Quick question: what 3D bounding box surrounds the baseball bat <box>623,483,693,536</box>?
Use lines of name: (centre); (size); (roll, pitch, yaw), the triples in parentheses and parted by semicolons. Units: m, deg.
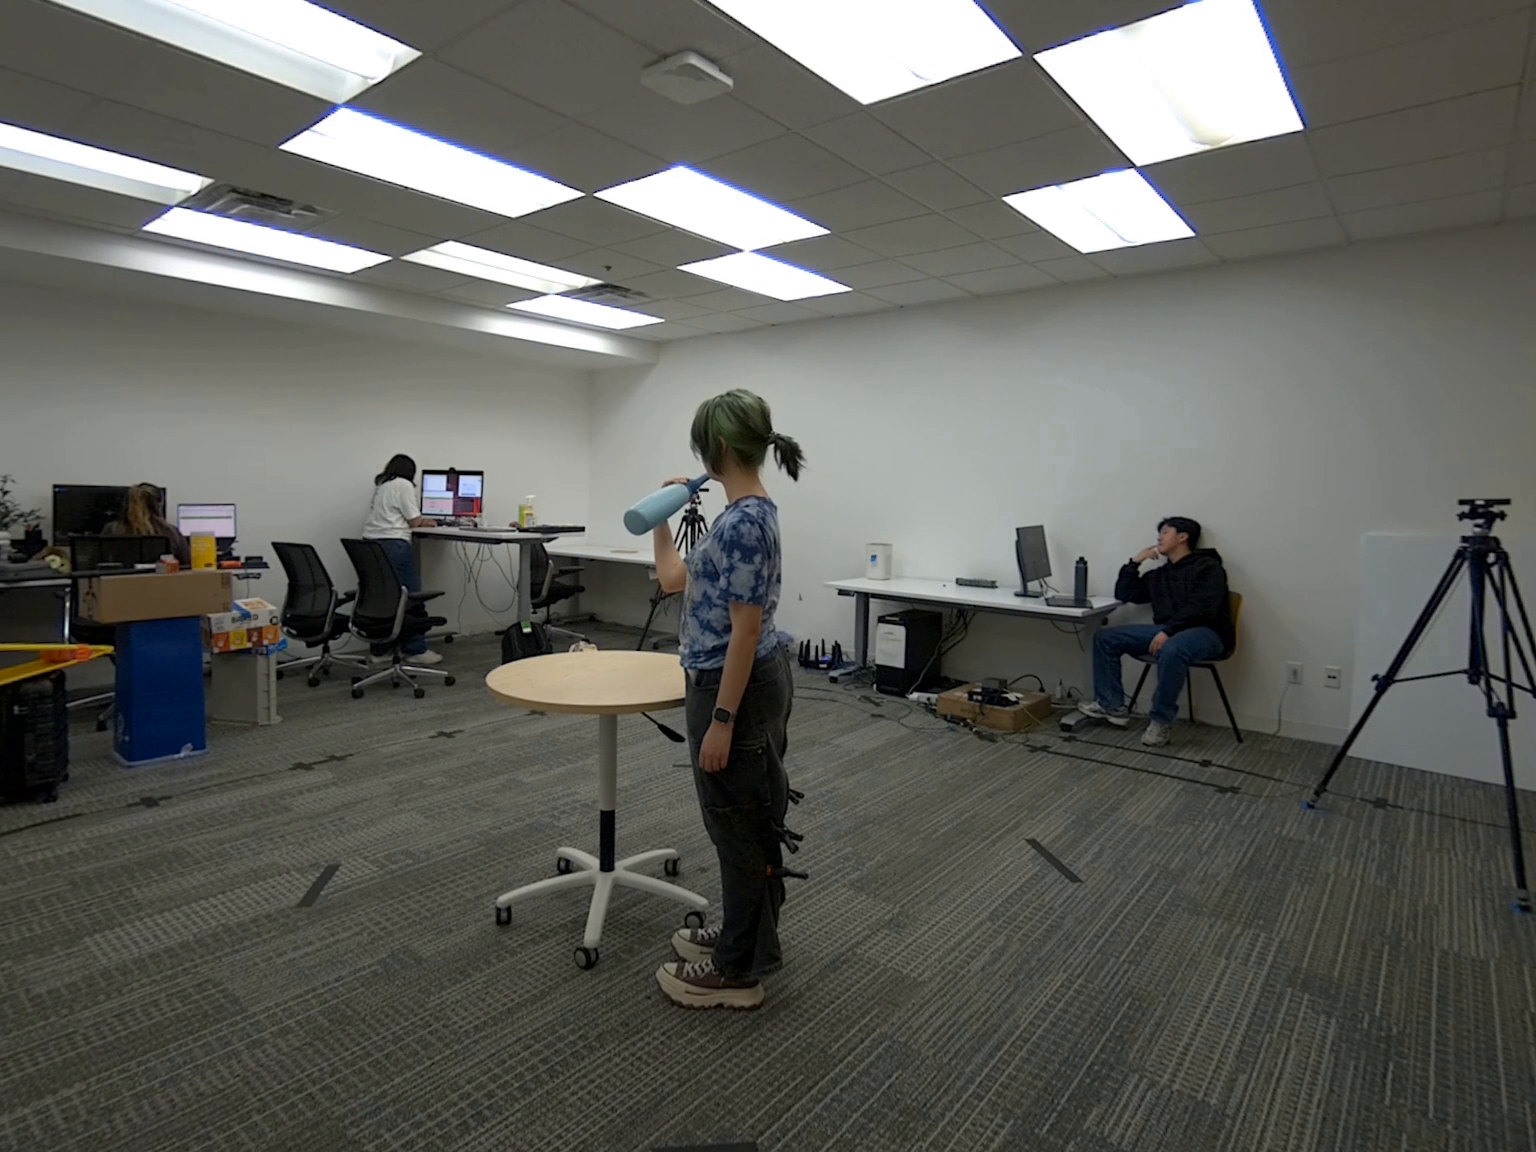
baseball bat: (-0.267, -0.265, 2.638); (0.092, 0.087, 0.540); (3, 27, 30)
